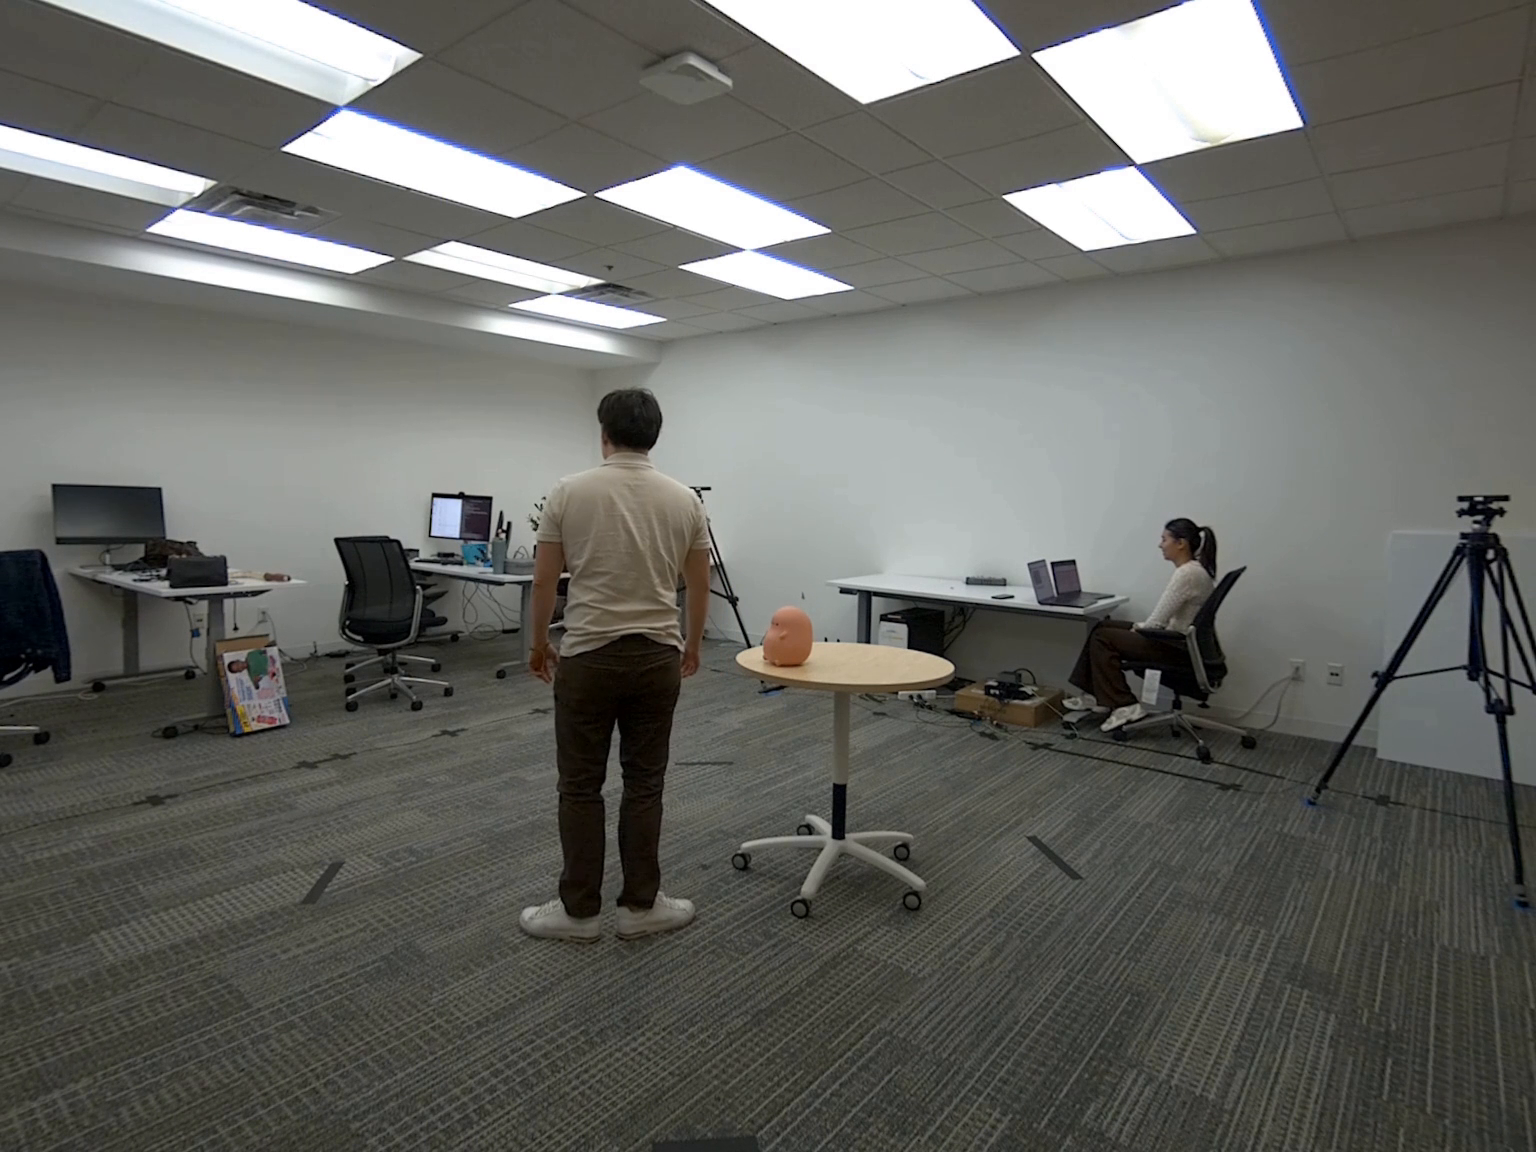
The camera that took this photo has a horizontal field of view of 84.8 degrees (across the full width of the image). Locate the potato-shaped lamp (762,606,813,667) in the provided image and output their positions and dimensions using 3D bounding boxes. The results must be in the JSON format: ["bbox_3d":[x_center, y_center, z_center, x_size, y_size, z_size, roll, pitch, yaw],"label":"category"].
[{"bbox_3d":[0.067,0.204,2.963,0.168,0.197,0.168,1,4,-20],"label":"potato-shaped lamp"}]
